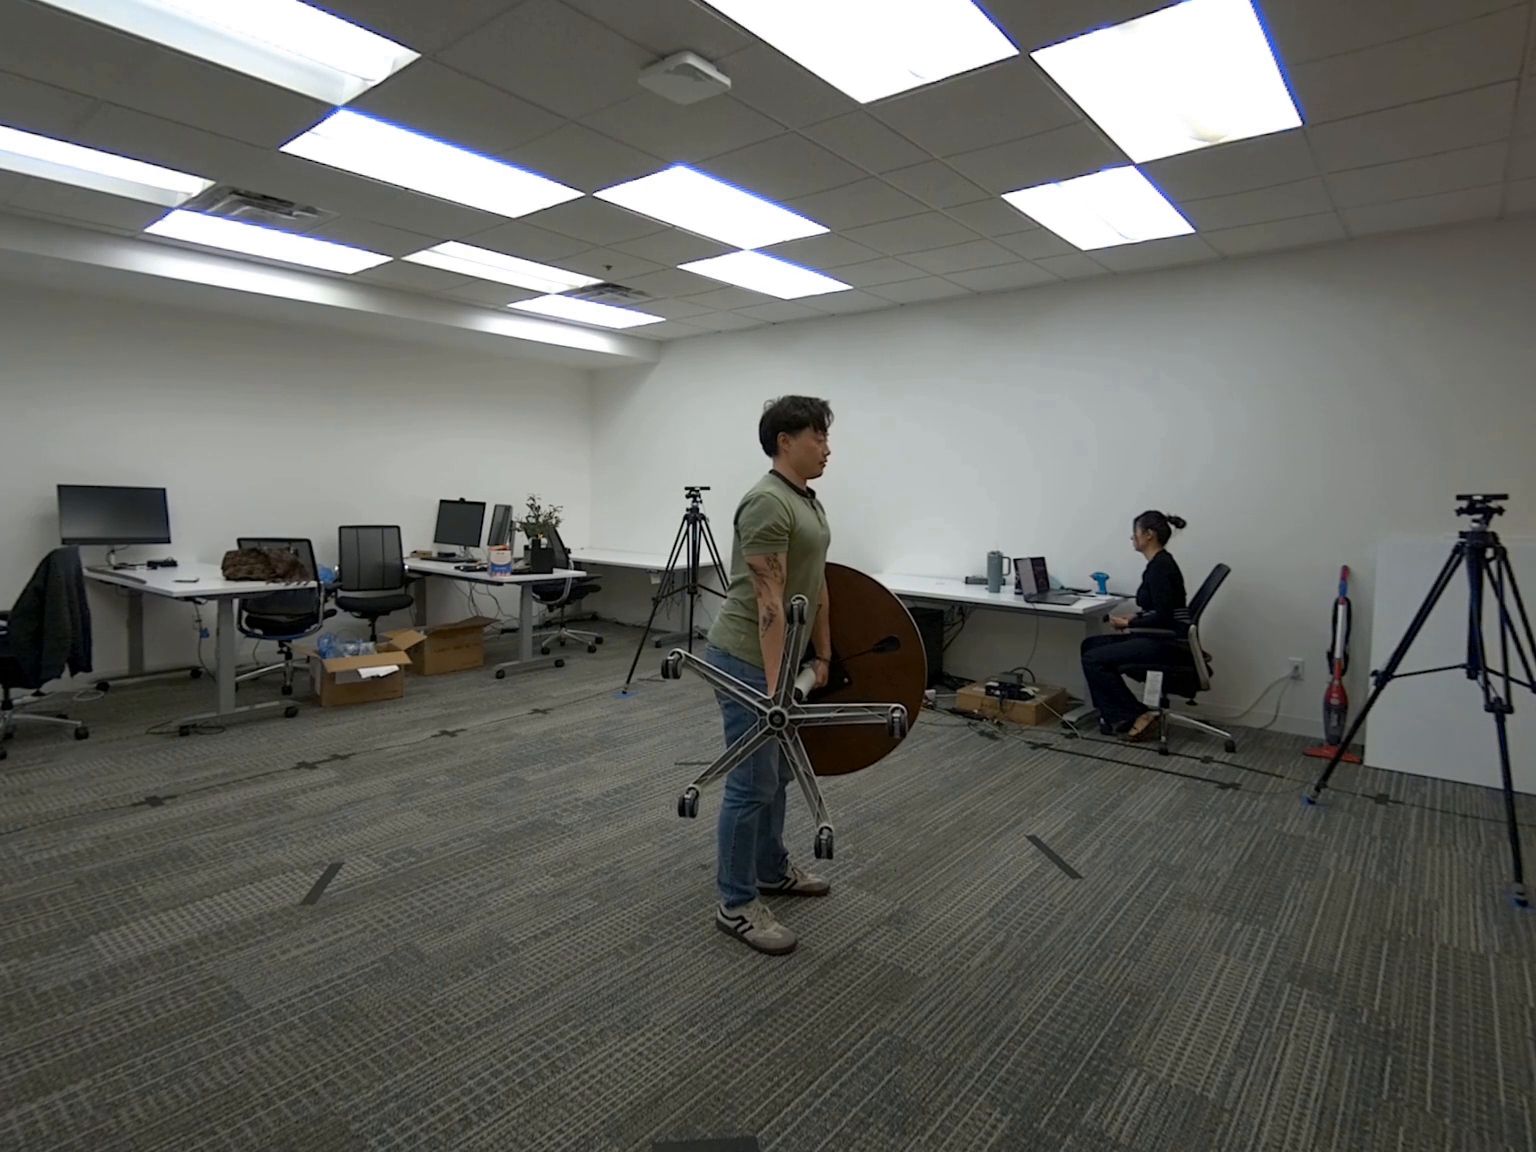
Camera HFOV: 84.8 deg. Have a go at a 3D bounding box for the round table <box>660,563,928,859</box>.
[{"bbox_3d":[0.085,0.370,2.636,0.776,0.761,0.785,2,5,13],"label":"round table"}]
